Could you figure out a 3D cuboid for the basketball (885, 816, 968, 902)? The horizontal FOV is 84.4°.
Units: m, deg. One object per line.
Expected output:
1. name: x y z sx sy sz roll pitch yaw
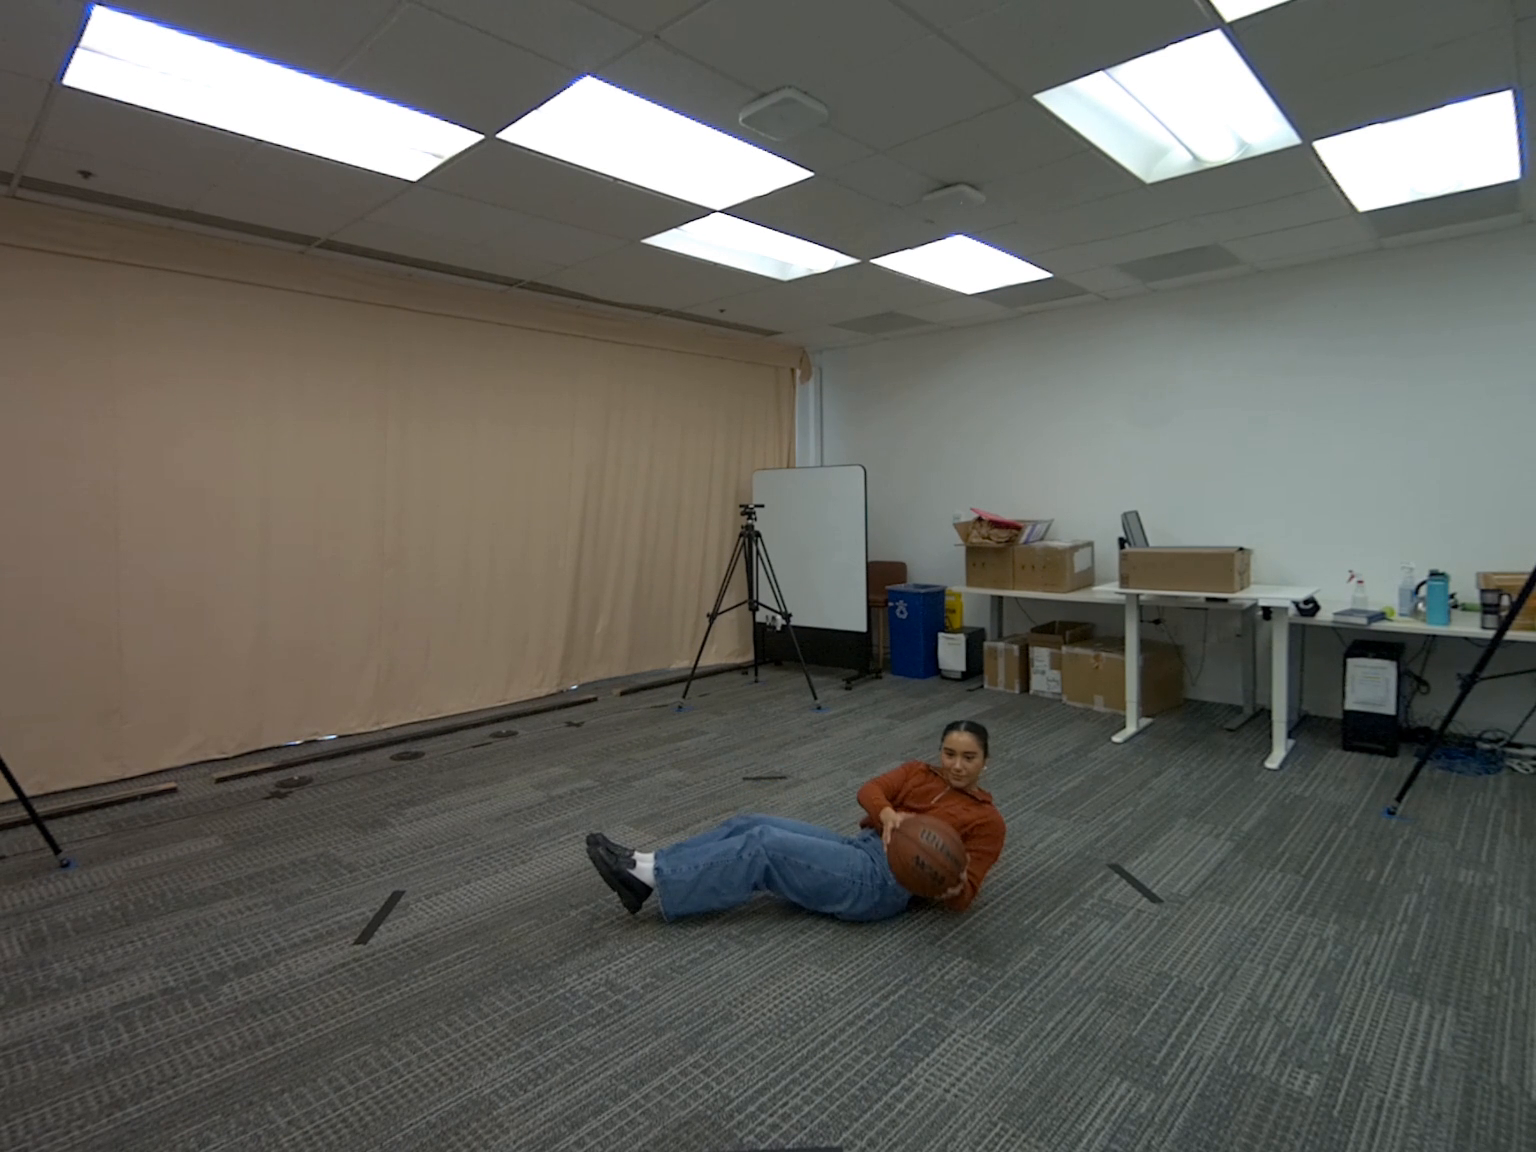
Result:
1. basketball: 0.489 0.851 2.595 0.236 0.235 0.237 -1 4 -2
